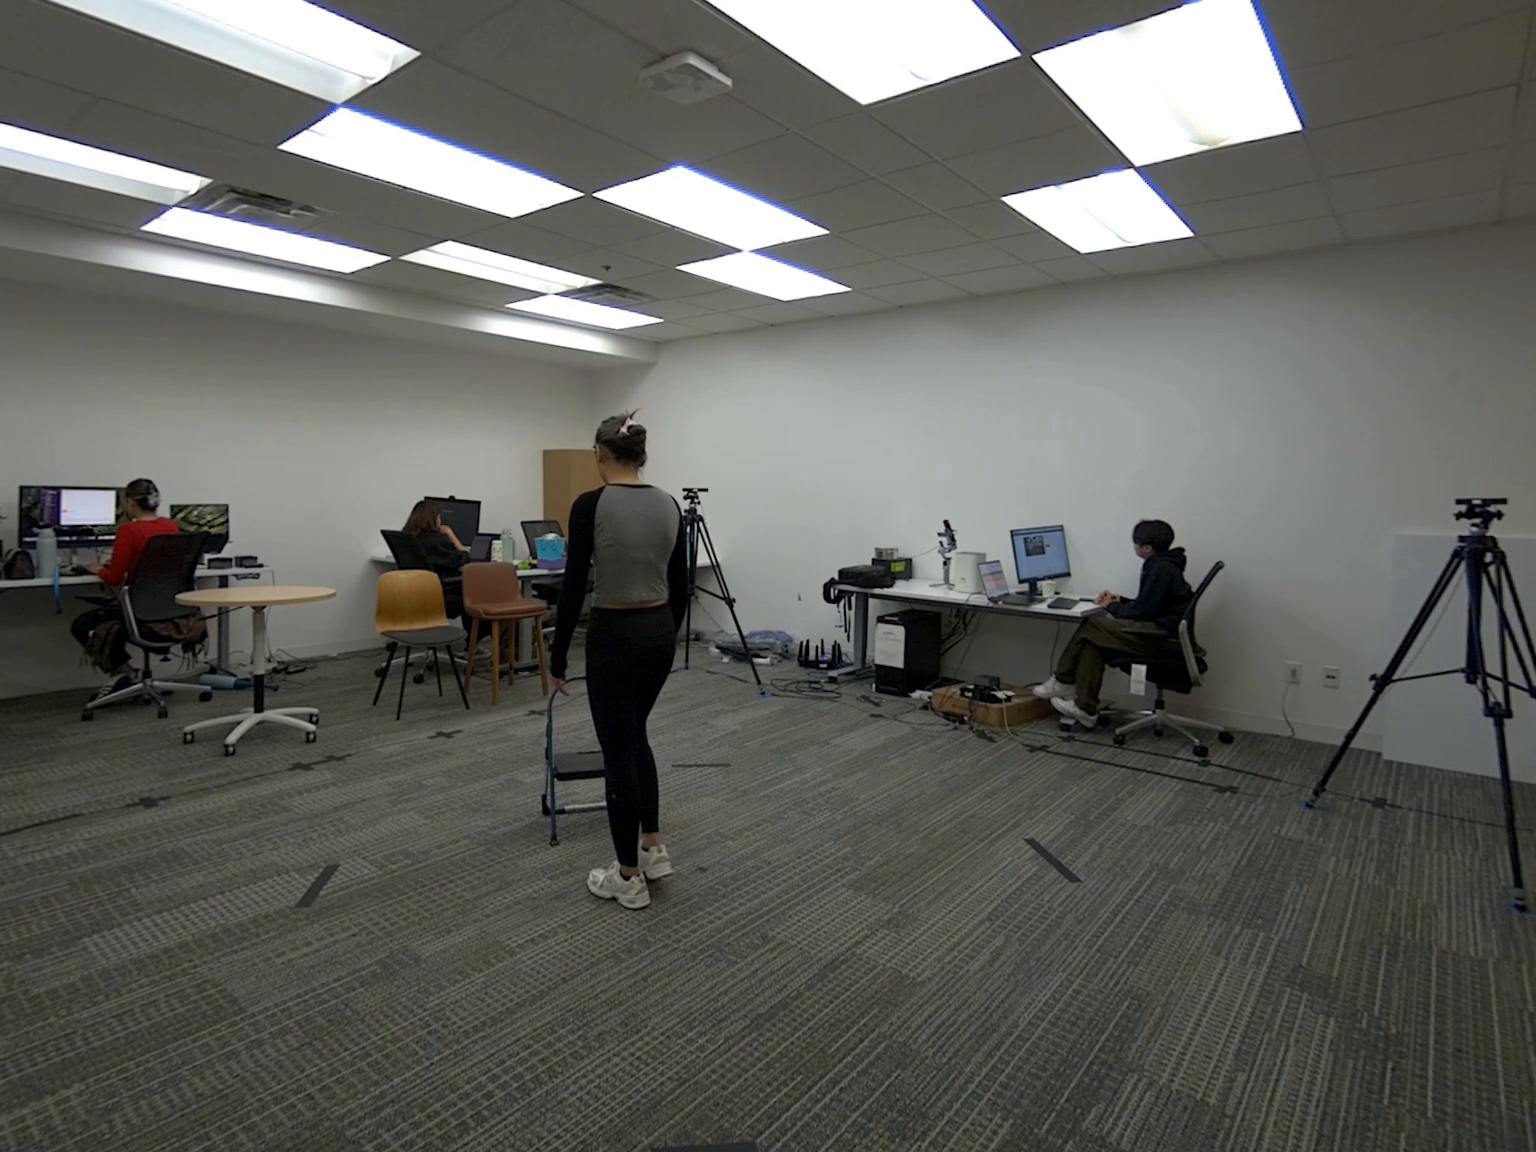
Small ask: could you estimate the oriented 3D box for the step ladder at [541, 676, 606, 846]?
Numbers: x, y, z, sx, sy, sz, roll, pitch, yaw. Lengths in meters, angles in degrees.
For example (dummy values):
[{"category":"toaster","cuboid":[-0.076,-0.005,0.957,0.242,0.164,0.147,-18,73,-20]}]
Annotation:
[{"category":"step ladder","cuboid":[-0.713,0.721,3.506,0.422,0.605,0.357,0,3,-21]}]
